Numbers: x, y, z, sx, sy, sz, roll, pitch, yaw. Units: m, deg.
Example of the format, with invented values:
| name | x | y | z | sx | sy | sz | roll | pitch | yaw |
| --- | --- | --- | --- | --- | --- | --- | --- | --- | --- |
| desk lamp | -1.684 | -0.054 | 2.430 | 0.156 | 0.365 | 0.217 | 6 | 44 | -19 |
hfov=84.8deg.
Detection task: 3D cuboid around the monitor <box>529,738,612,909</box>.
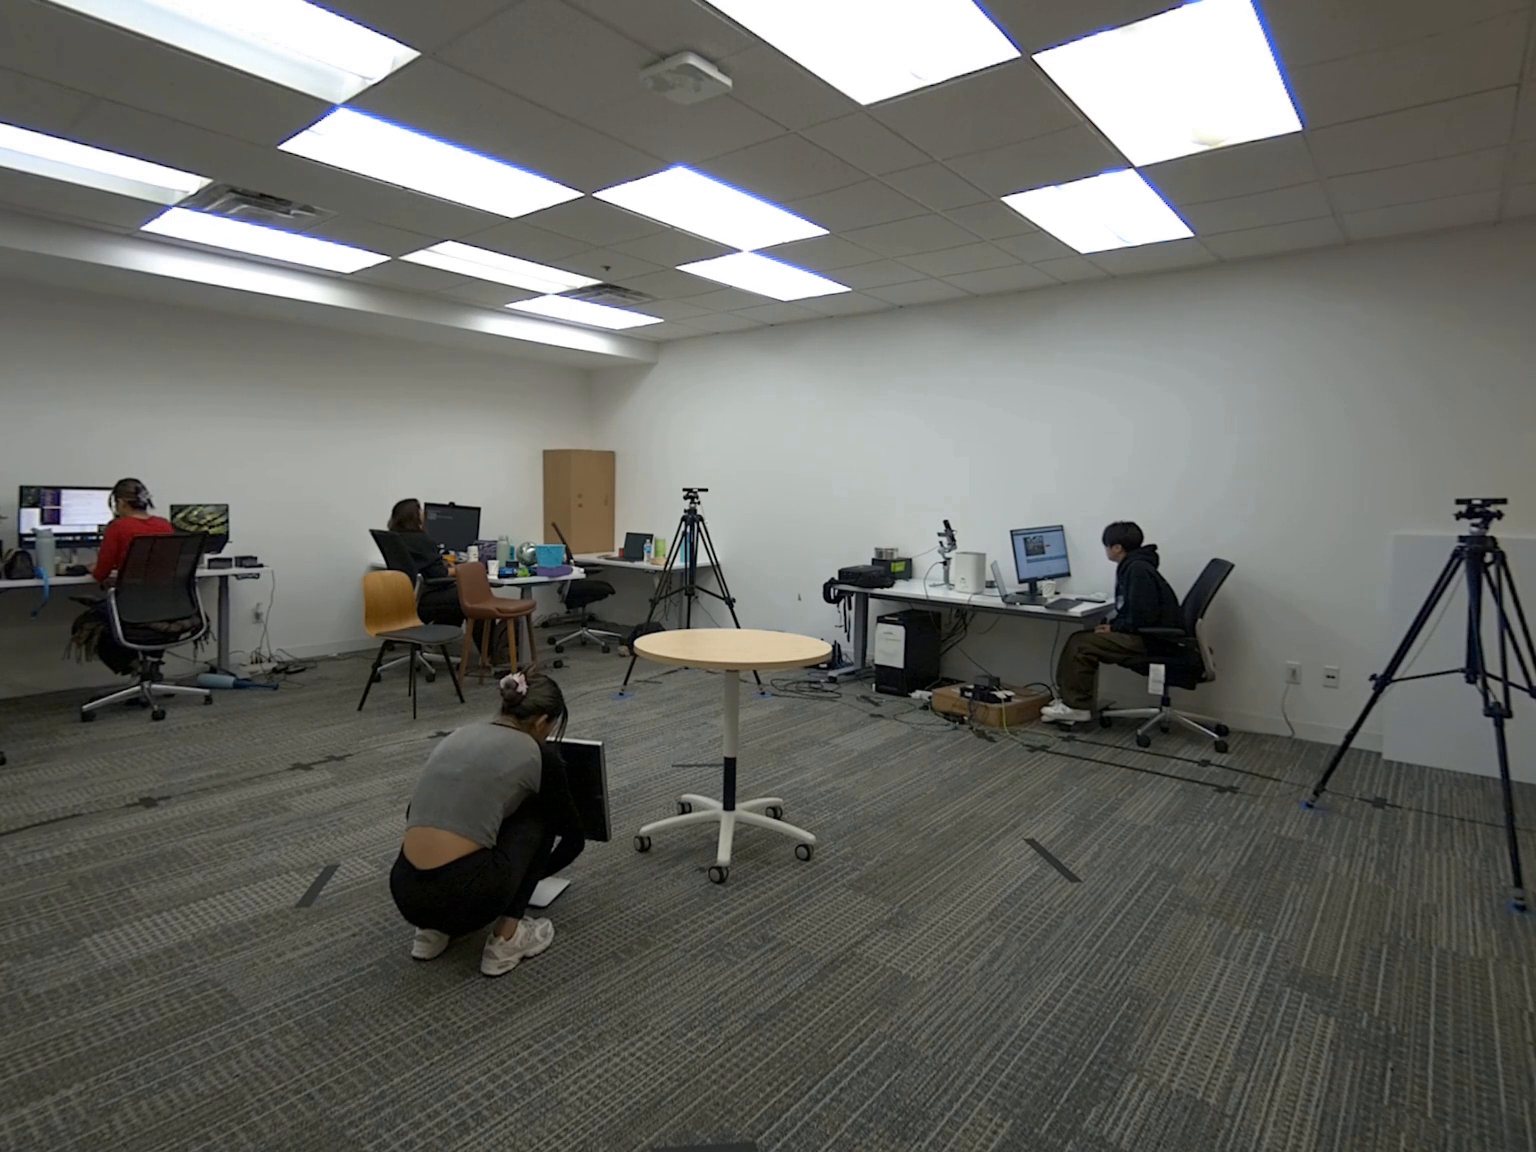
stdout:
| name | x | y | z | sx | sy | sz | roll | pitch | yaw |
| --- | --- | --- | --- | --- | --- | --- | --- | --- | --- |
| monitor | -0.828 | 0.812 | 2.900 | 0.548 | 0.522 | 0.184 | 1 | 2 | 16 |
